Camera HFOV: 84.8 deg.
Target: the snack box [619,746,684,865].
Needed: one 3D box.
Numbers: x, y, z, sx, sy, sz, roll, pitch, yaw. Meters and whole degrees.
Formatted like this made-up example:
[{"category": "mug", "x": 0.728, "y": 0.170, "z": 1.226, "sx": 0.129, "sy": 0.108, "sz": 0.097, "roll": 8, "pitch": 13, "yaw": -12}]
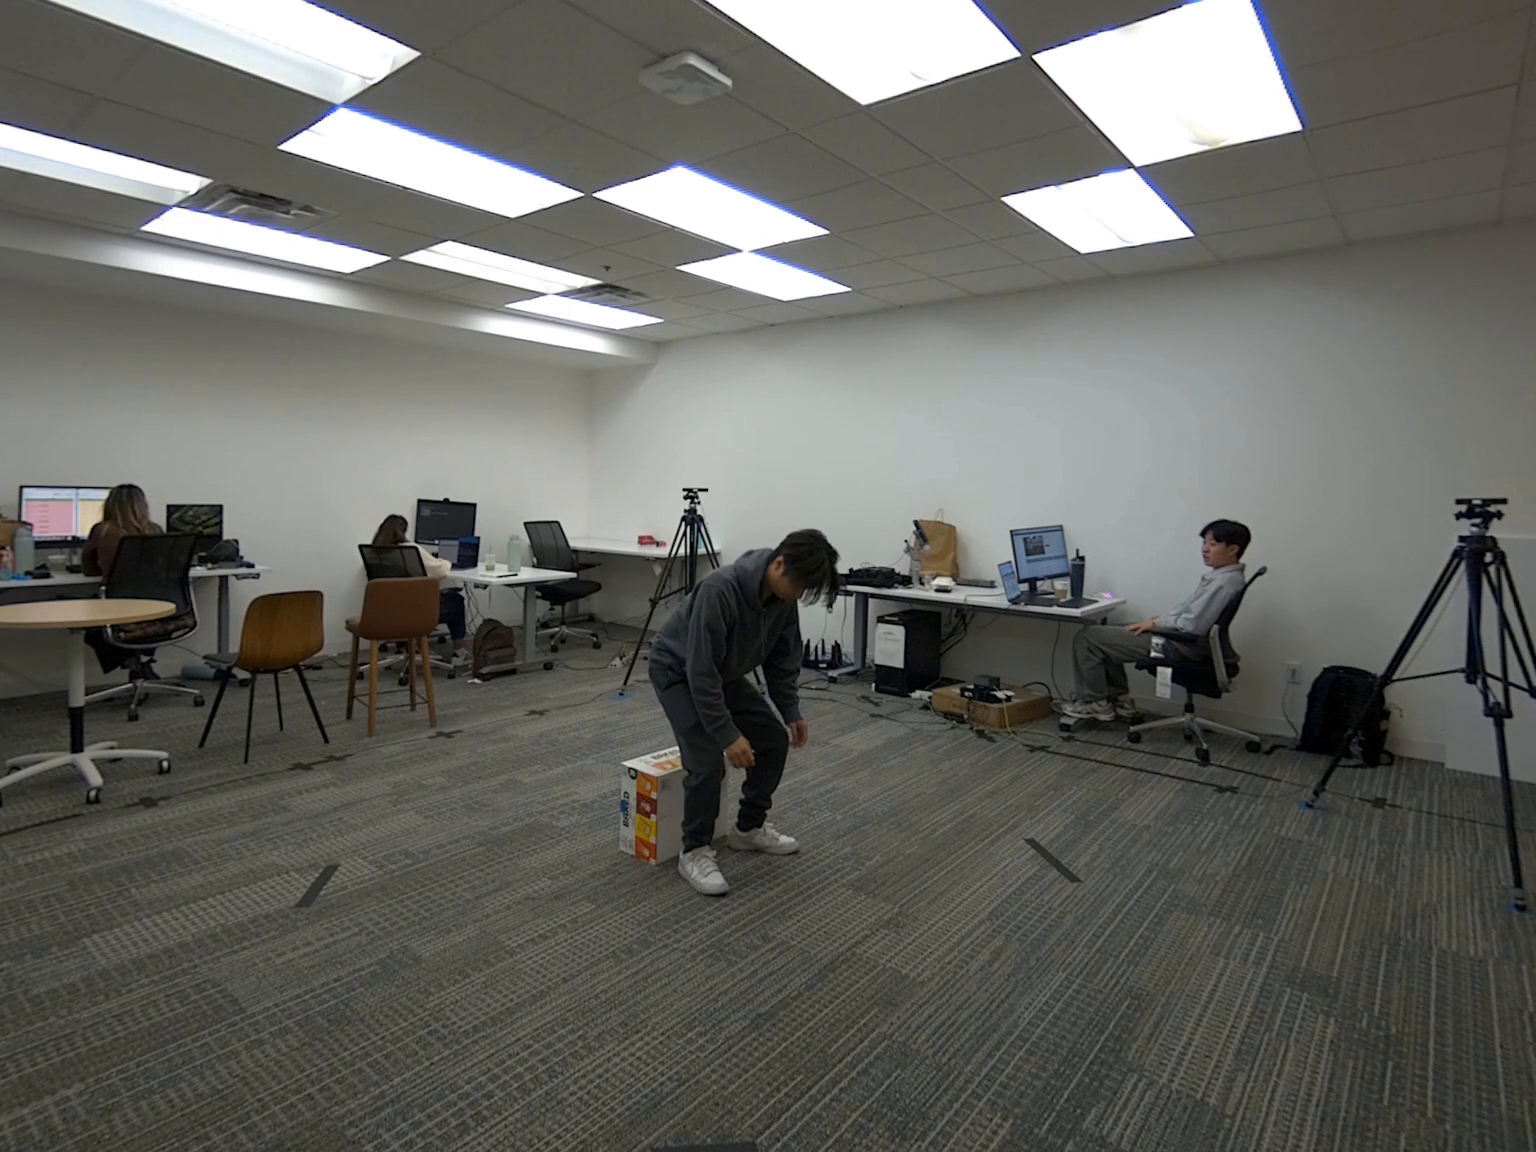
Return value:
[{"category": "snack box", "x": -0.374, "y": 0.876, "z": 3.335, "sx": 0.213, "sy": 0.339, "sz": 0.393, "roll": 6, "pitch": 6, "yaw": 40}]
